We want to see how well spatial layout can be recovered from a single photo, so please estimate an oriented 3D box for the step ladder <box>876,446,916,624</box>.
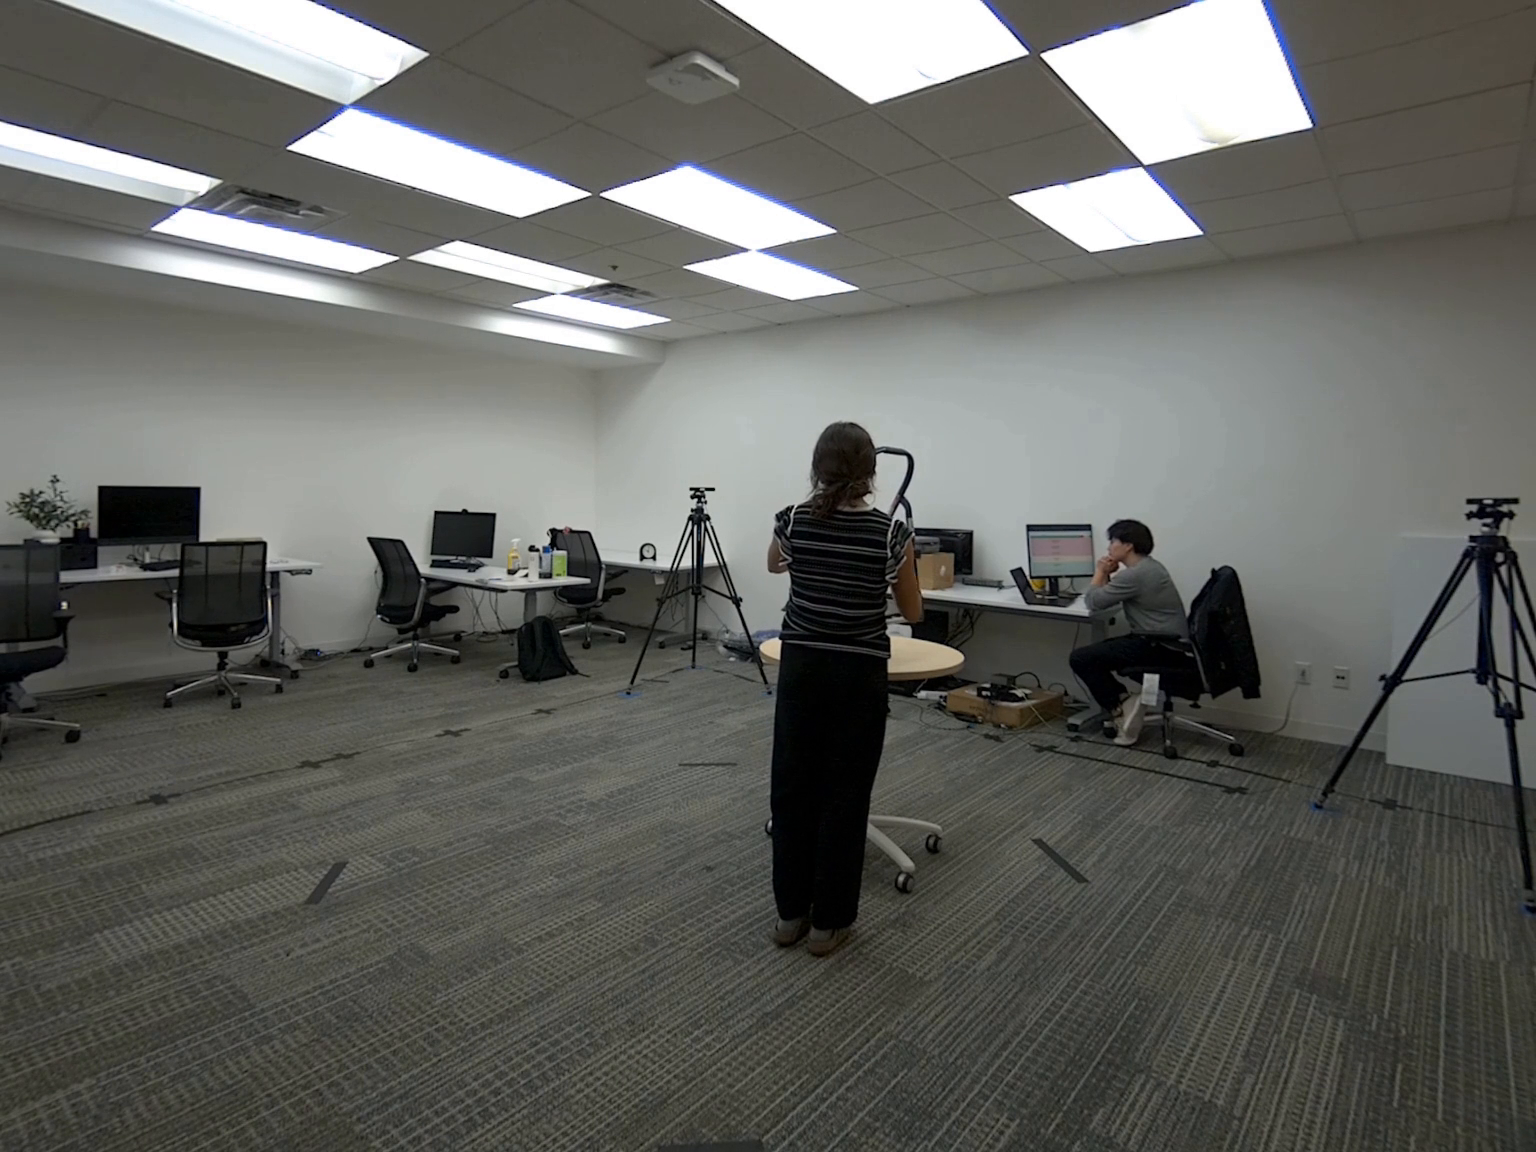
[{"bbox_3d":[0.339,-0.158,3.007,0.362,0.603,0.418,10,8,37],"label":"step ladder"}]
